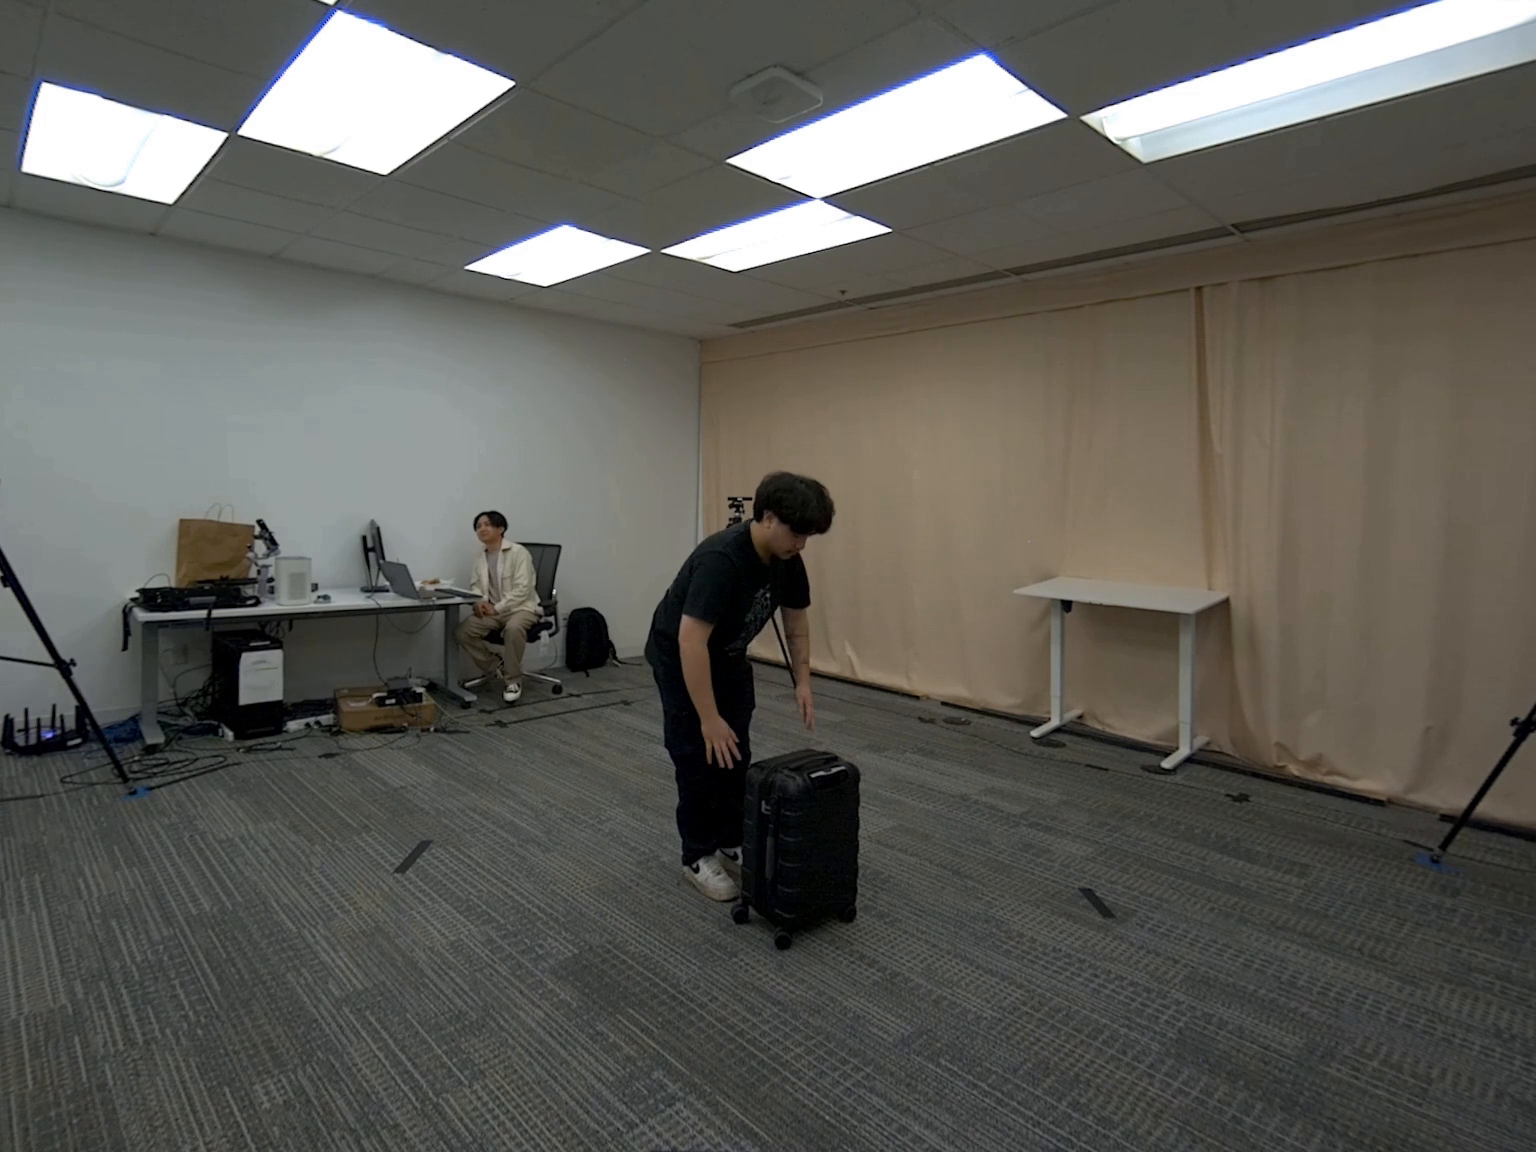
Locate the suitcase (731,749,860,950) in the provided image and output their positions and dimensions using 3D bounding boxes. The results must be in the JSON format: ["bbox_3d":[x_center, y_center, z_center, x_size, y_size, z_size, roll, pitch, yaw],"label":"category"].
[{"bbox_3d":[0.104,0.868,2.769,0.367,0.548,0.254,-1,4,-41],"label":"suitcase"}]
